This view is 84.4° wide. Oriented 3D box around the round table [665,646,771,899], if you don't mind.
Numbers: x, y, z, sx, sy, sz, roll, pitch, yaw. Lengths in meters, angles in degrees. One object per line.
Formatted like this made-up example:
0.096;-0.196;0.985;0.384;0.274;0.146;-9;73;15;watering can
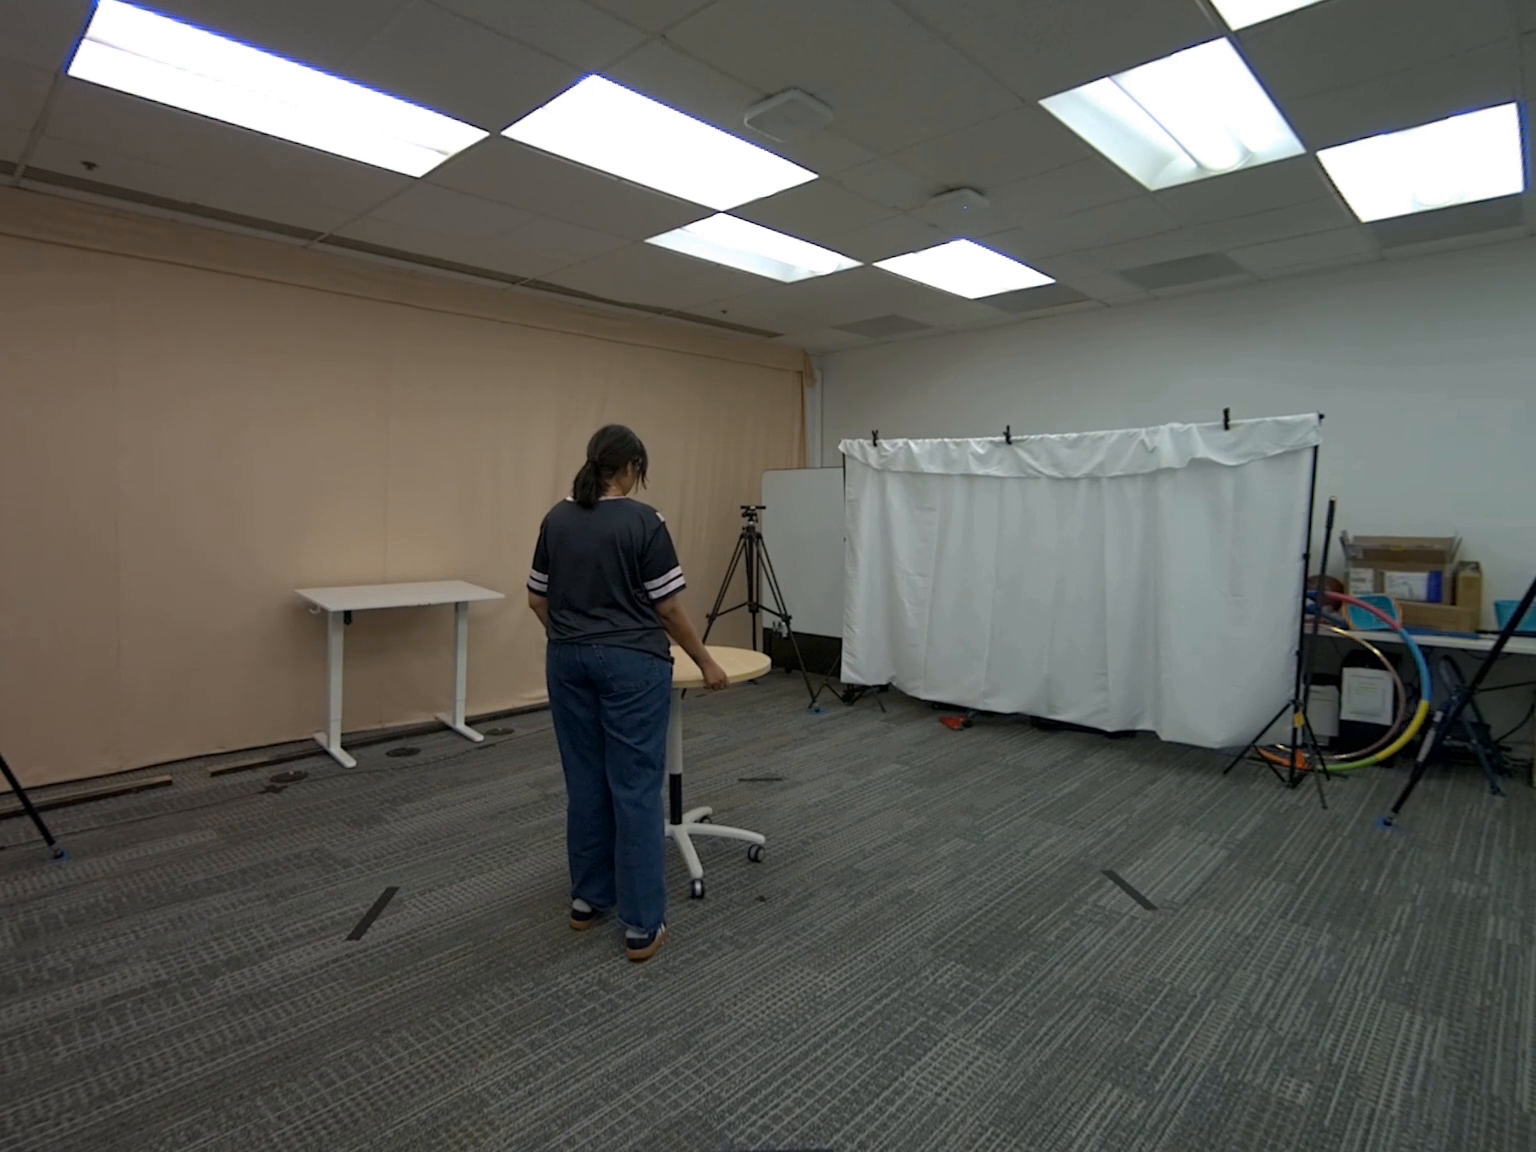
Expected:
-0.359;0.729;3.318;0.763;0.792;0.766;-1;4;-2;round table
